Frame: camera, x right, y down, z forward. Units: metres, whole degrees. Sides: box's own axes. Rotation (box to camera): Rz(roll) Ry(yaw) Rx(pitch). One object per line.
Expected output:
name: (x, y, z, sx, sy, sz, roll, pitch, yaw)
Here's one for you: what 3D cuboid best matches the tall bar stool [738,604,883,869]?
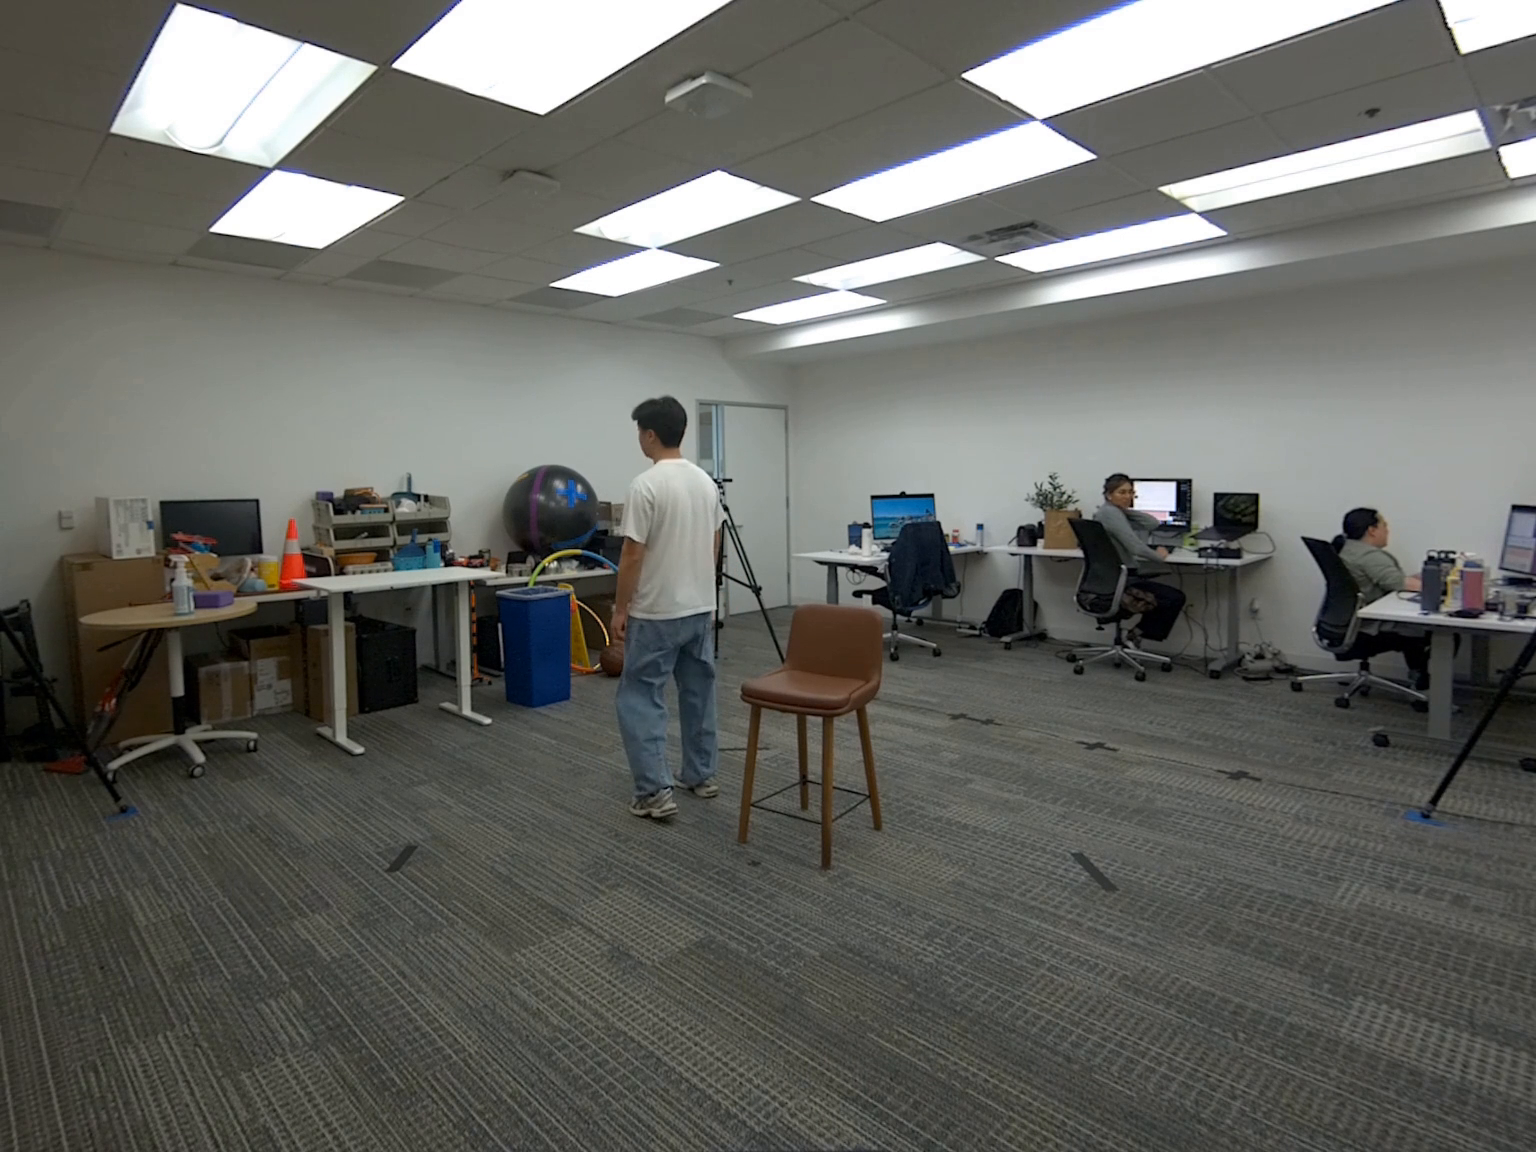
tall bar stool: (0.180, 0.582, 3.316, 0.470, 0.888, 0.455, 3, 3, 37)
